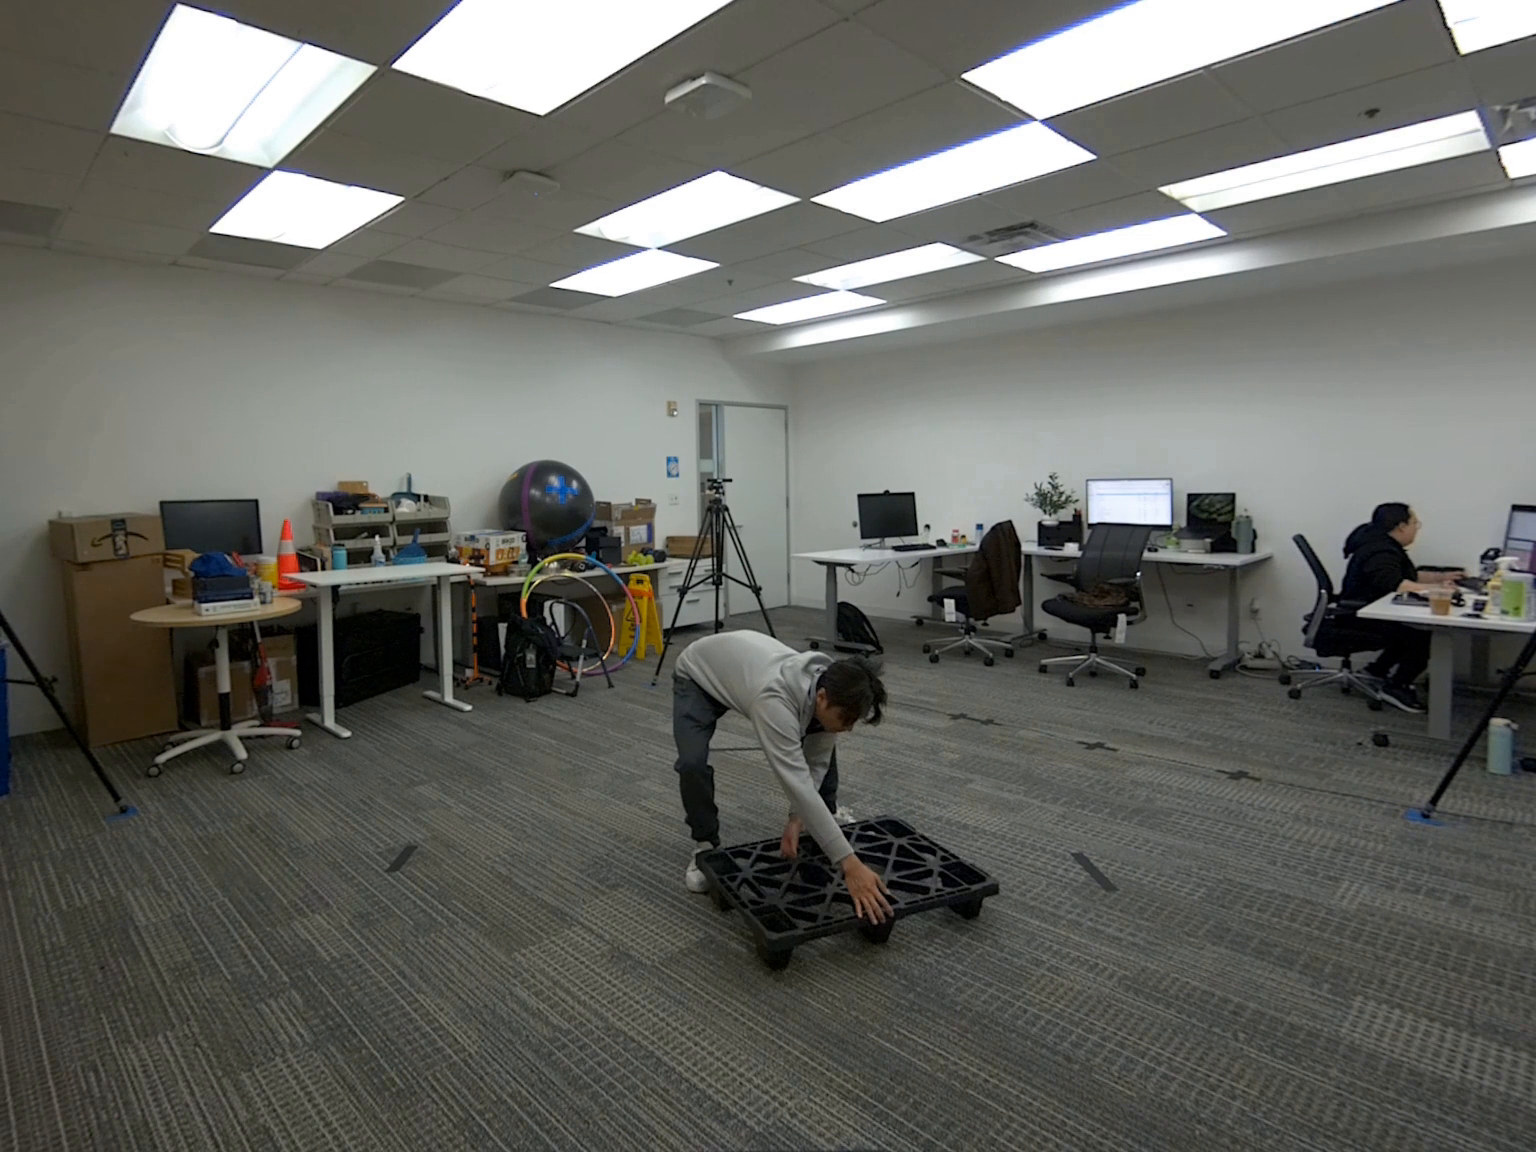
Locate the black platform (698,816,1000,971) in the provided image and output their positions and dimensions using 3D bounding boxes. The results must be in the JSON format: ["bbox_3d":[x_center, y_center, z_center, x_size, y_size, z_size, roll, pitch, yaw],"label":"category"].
[{"bbox_3d":[0.237,1.010,2.773,0.789,0.143,0.620,-4,6,-24],"label":"black platform"}]
